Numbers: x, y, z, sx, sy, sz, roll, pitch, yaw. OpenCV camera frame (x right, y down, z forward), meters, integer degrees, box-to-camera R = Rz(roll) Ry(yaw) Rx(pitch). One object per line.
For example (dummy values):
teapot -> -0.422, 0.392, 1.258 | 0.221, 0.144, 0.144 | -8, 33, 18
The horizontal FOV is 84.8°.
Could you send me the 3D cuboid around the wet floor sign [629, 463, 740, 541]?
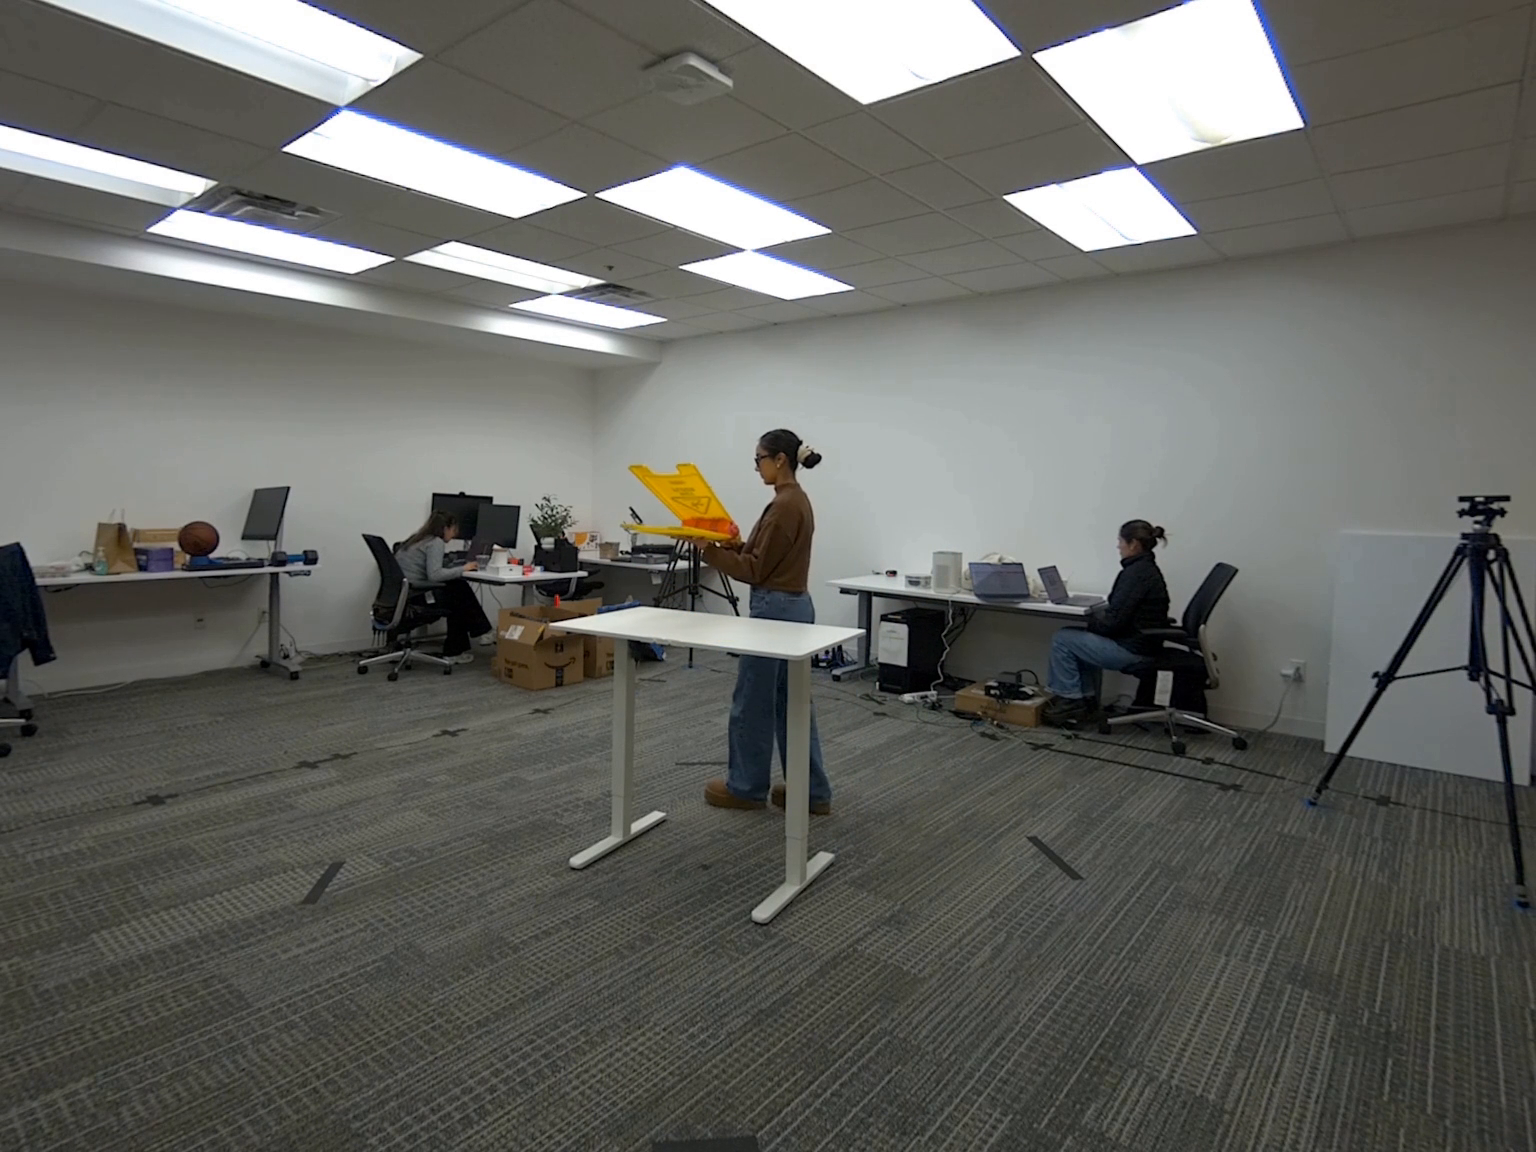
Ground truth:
wet floor sign -> -0.335, -0.231, 3.458 | 0.289, 0.292, 0.625 | 2, -10, 22
